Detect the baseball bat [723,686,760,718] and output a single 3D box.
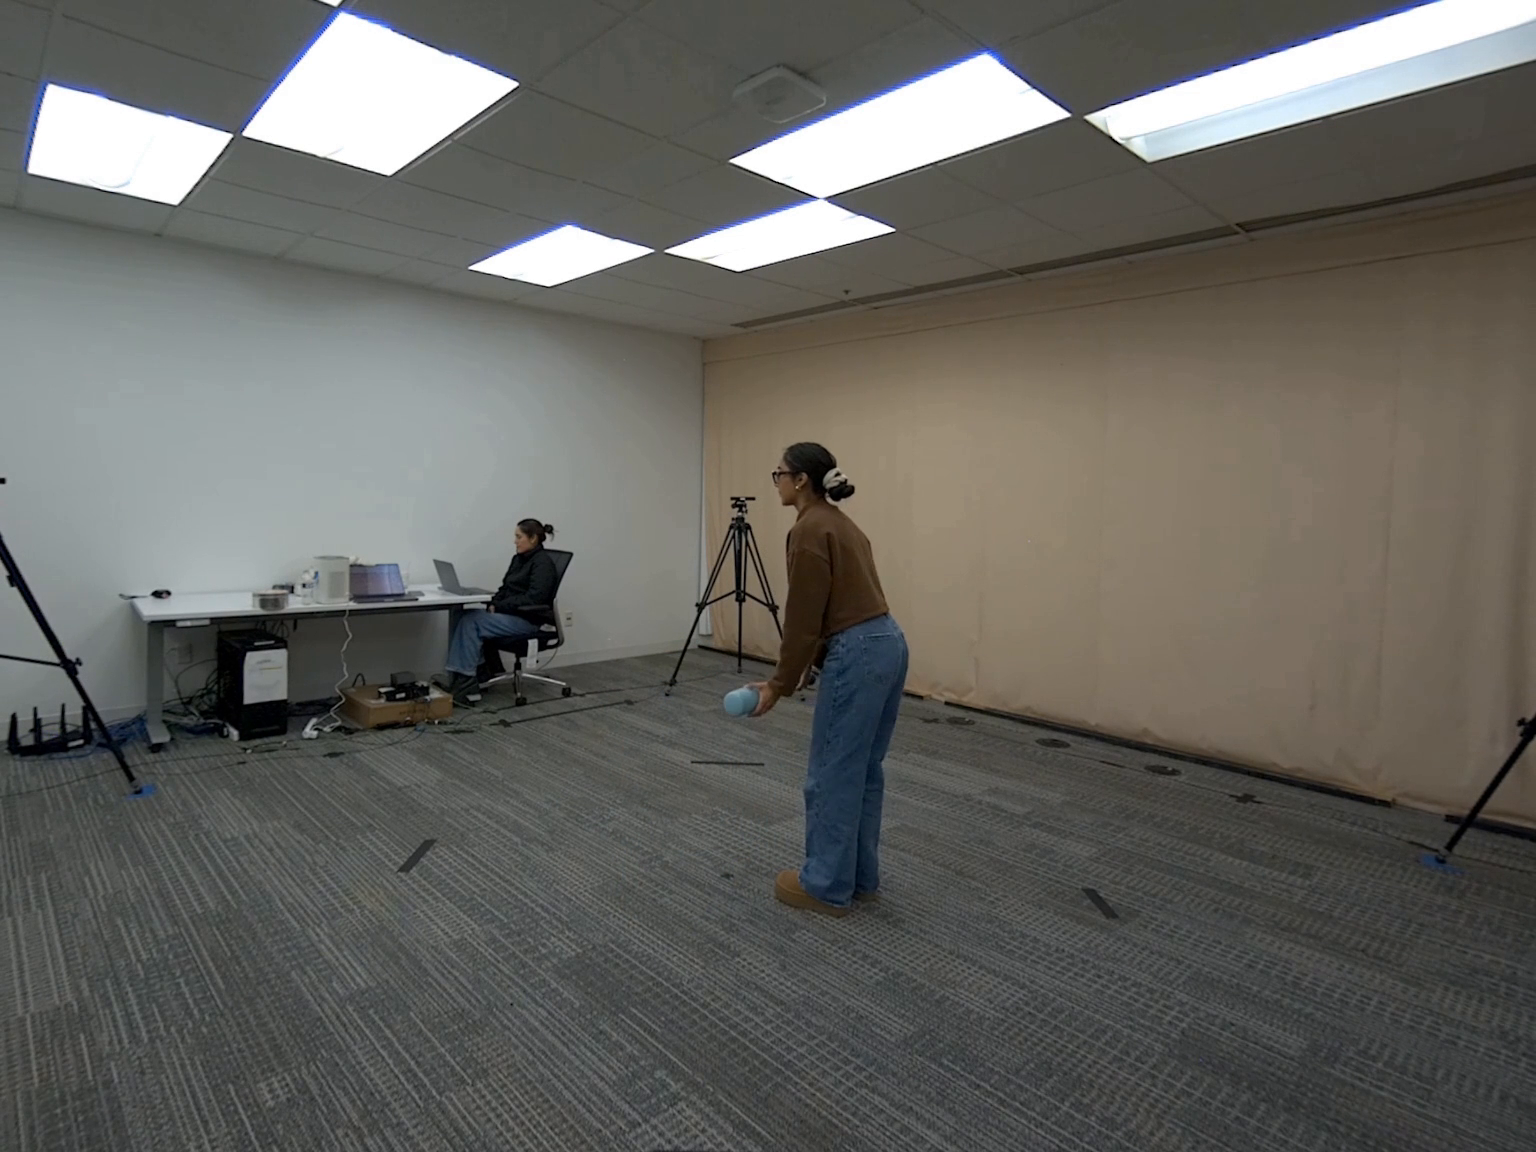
[{"bbox_3d":[0.016,0.404,3.016,0.091,0.089,0.532,4,6,31],"label":"baseball bat"}]
